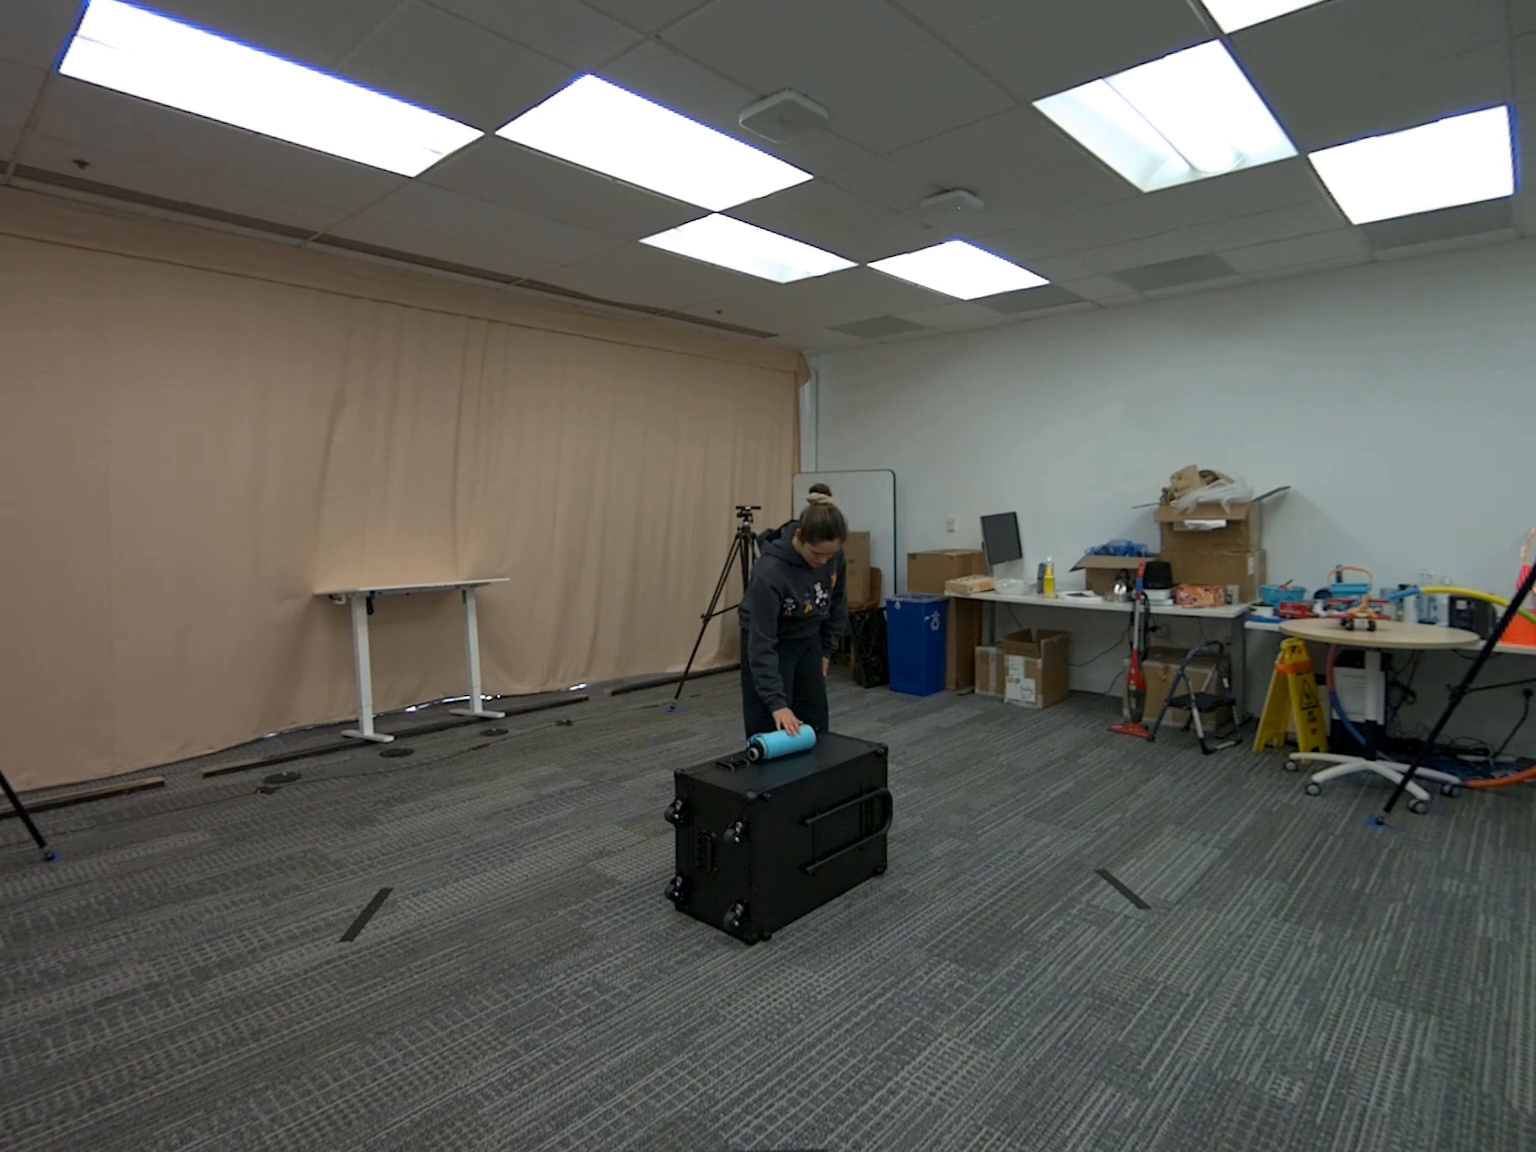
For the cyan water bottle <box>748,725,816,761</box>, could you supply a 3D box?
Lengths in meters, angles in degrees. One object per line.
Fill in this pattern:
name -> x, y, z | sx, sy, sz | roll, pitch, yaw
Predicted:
cyan water bottle -> 0.060, 0.599, 3.064 | 0.275, 0.092, 0.095 | -6, 6, -38
